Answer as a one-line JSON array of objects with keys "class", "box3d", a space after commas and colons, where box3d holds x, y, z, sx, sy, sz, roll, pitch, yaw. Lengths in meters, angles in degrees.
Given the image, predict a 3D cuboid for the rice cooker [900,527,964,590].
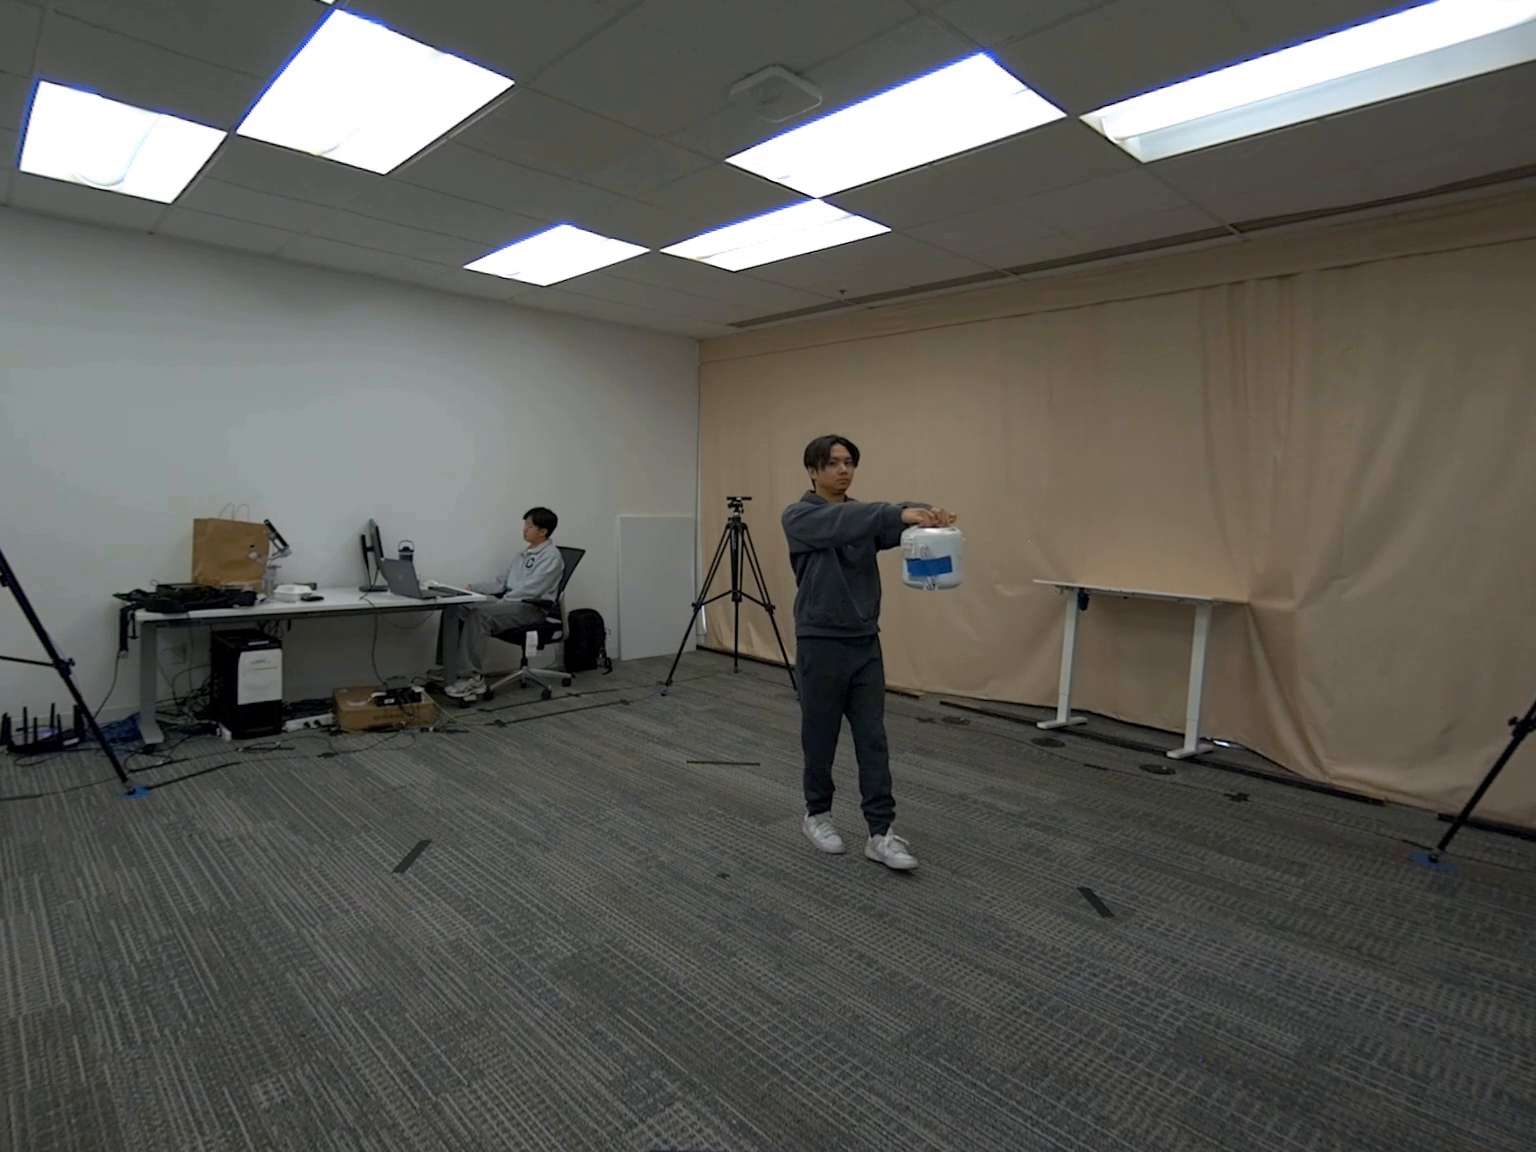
[{"class": "rice cooker", "box3d": [0.552, -0.077, 2.887, 0.217, 0.232, 0.222, -5, 7, -28]}]
